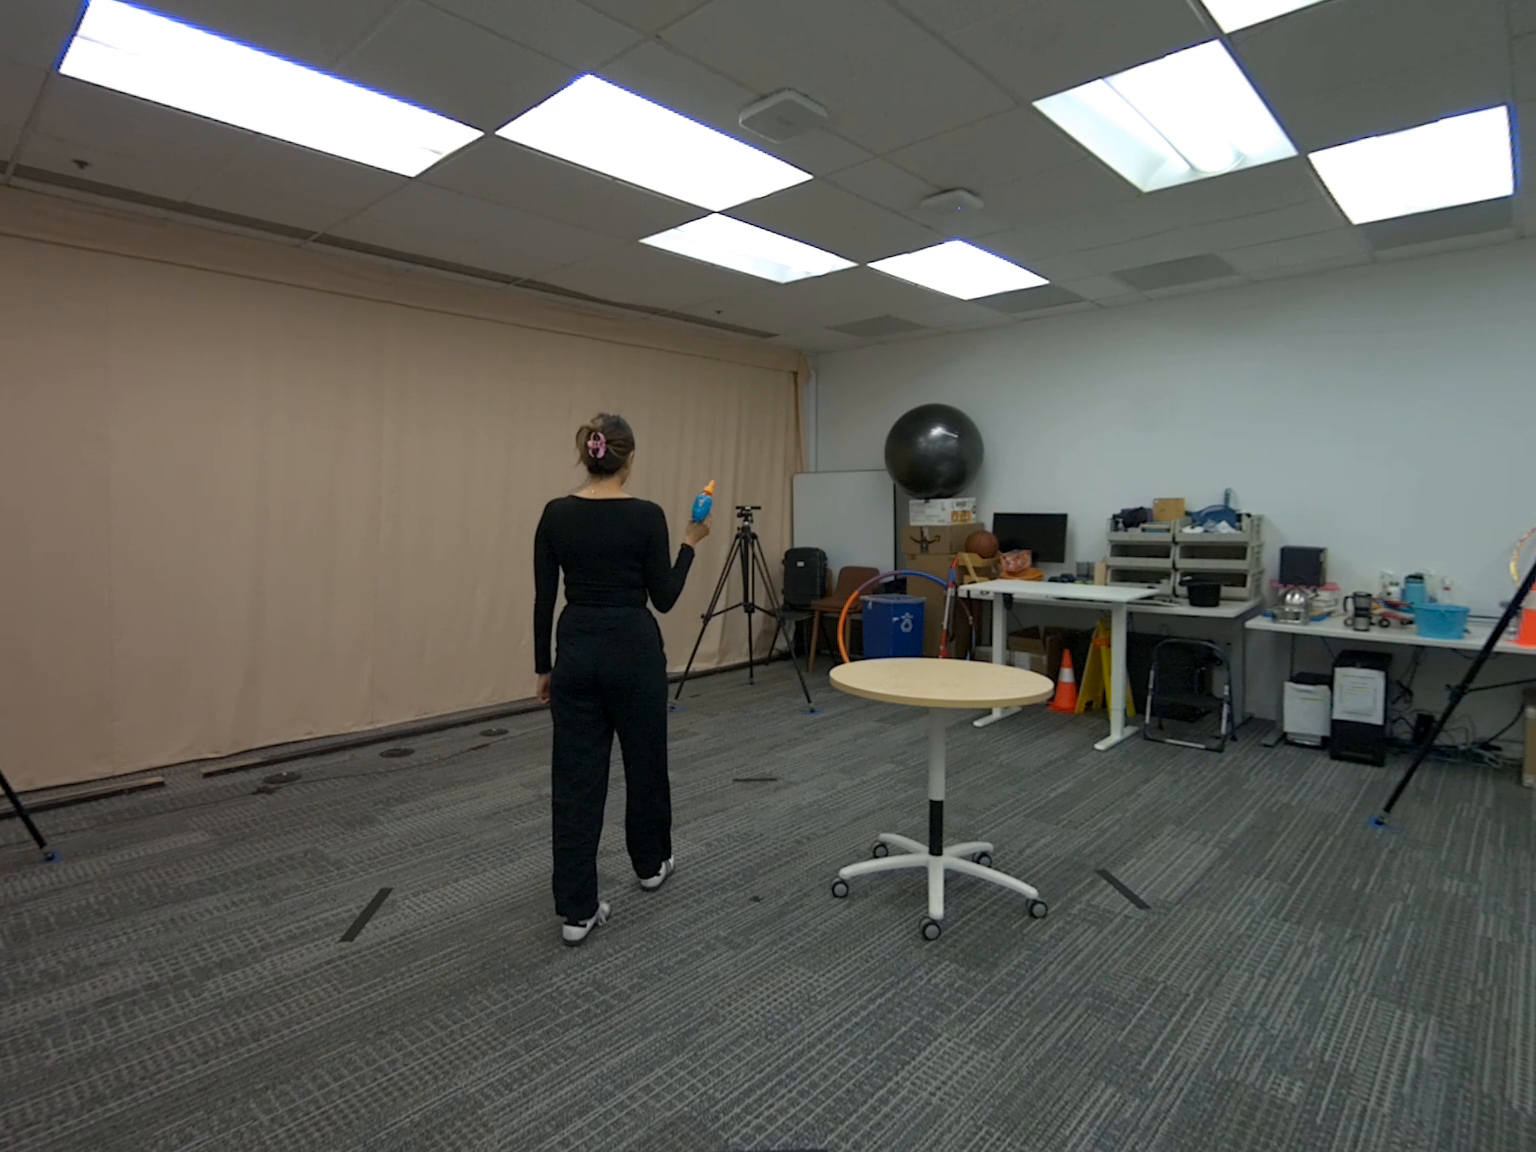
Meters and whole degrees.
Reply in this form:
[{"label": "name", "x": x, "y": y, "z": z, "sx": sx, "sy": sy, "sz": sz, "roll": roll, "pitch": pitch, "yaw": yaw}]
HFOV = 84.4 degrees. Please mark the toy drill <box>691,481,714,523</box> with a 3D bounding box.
[{"label": "toy drill", "x": -0.222, "y": -0.249, "z": 2.952, "sx": 0.062, "sy": 0.171, "sz": 0.144, "roll": 14, "pitch": -22, "yaw": 6}]
